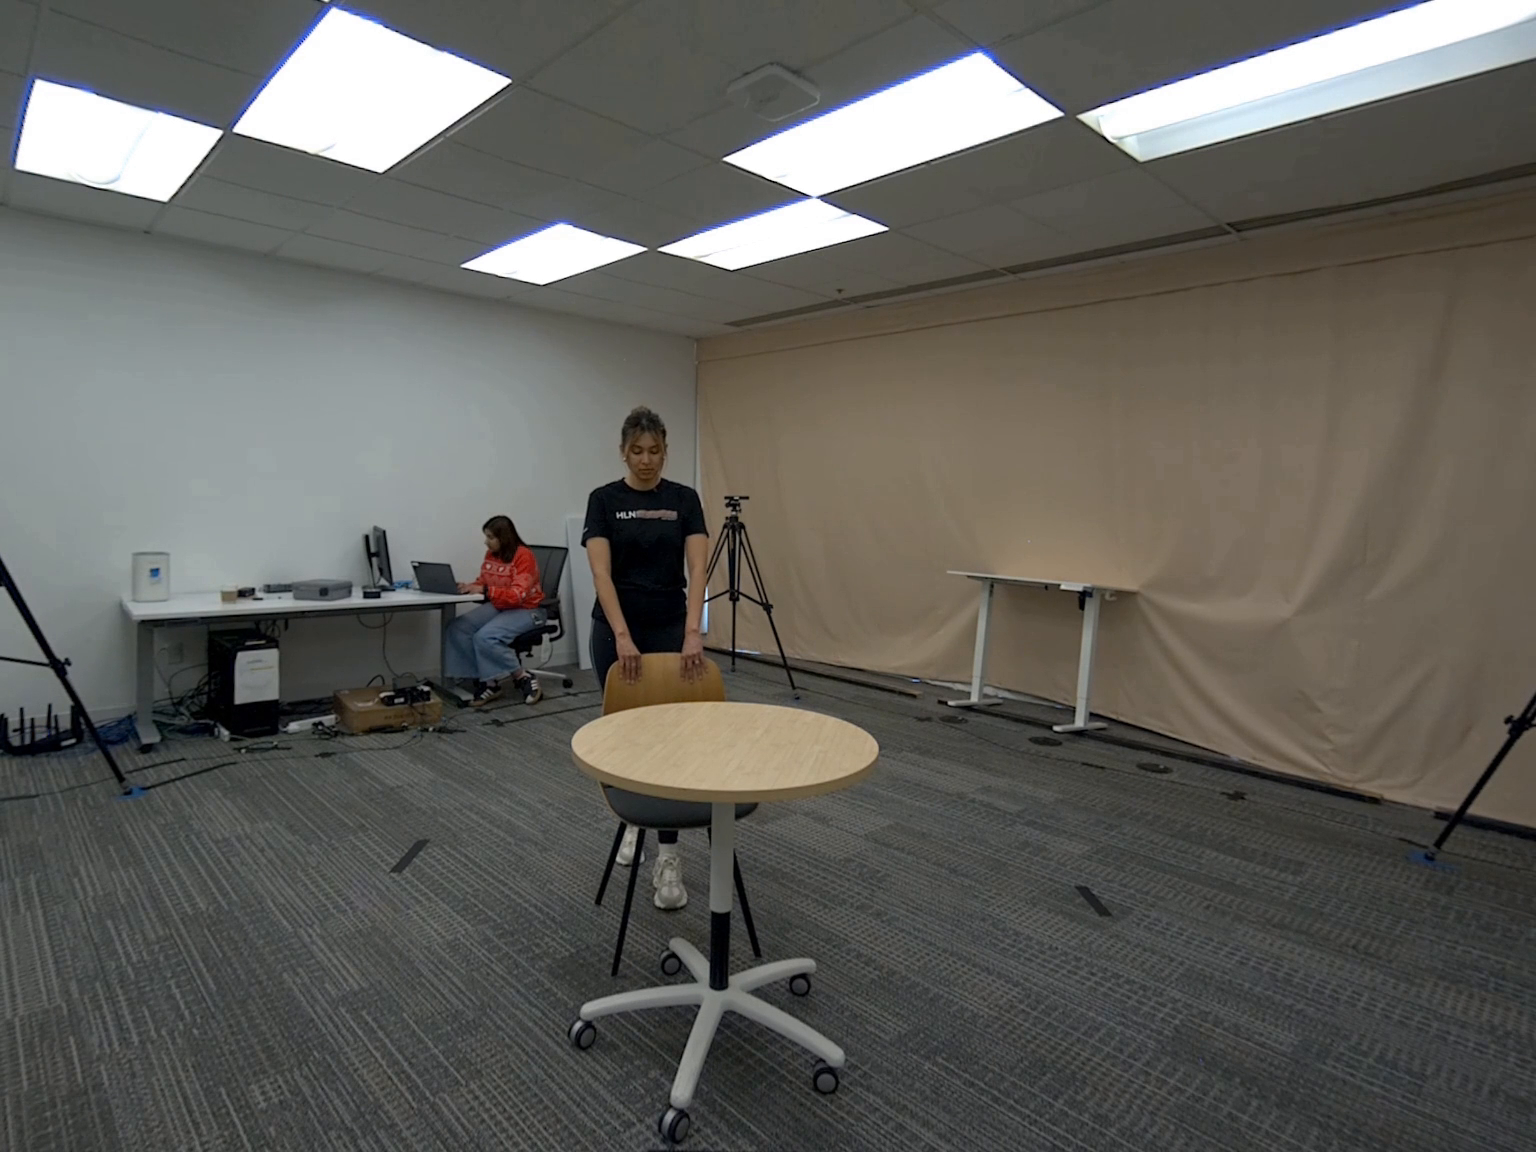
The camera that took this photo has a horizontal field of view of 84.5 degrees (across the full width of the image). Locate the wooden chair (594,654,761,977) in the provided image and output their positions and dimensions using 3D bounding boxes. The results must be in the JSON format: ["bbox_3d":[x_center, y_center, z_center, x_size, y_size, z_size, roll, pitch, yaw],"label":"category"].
[{"bbox_3d":[-0.299,0.714,2.666,0.472,0.878,0.529,1,-1,-16],"label":"wooden chair"}]
